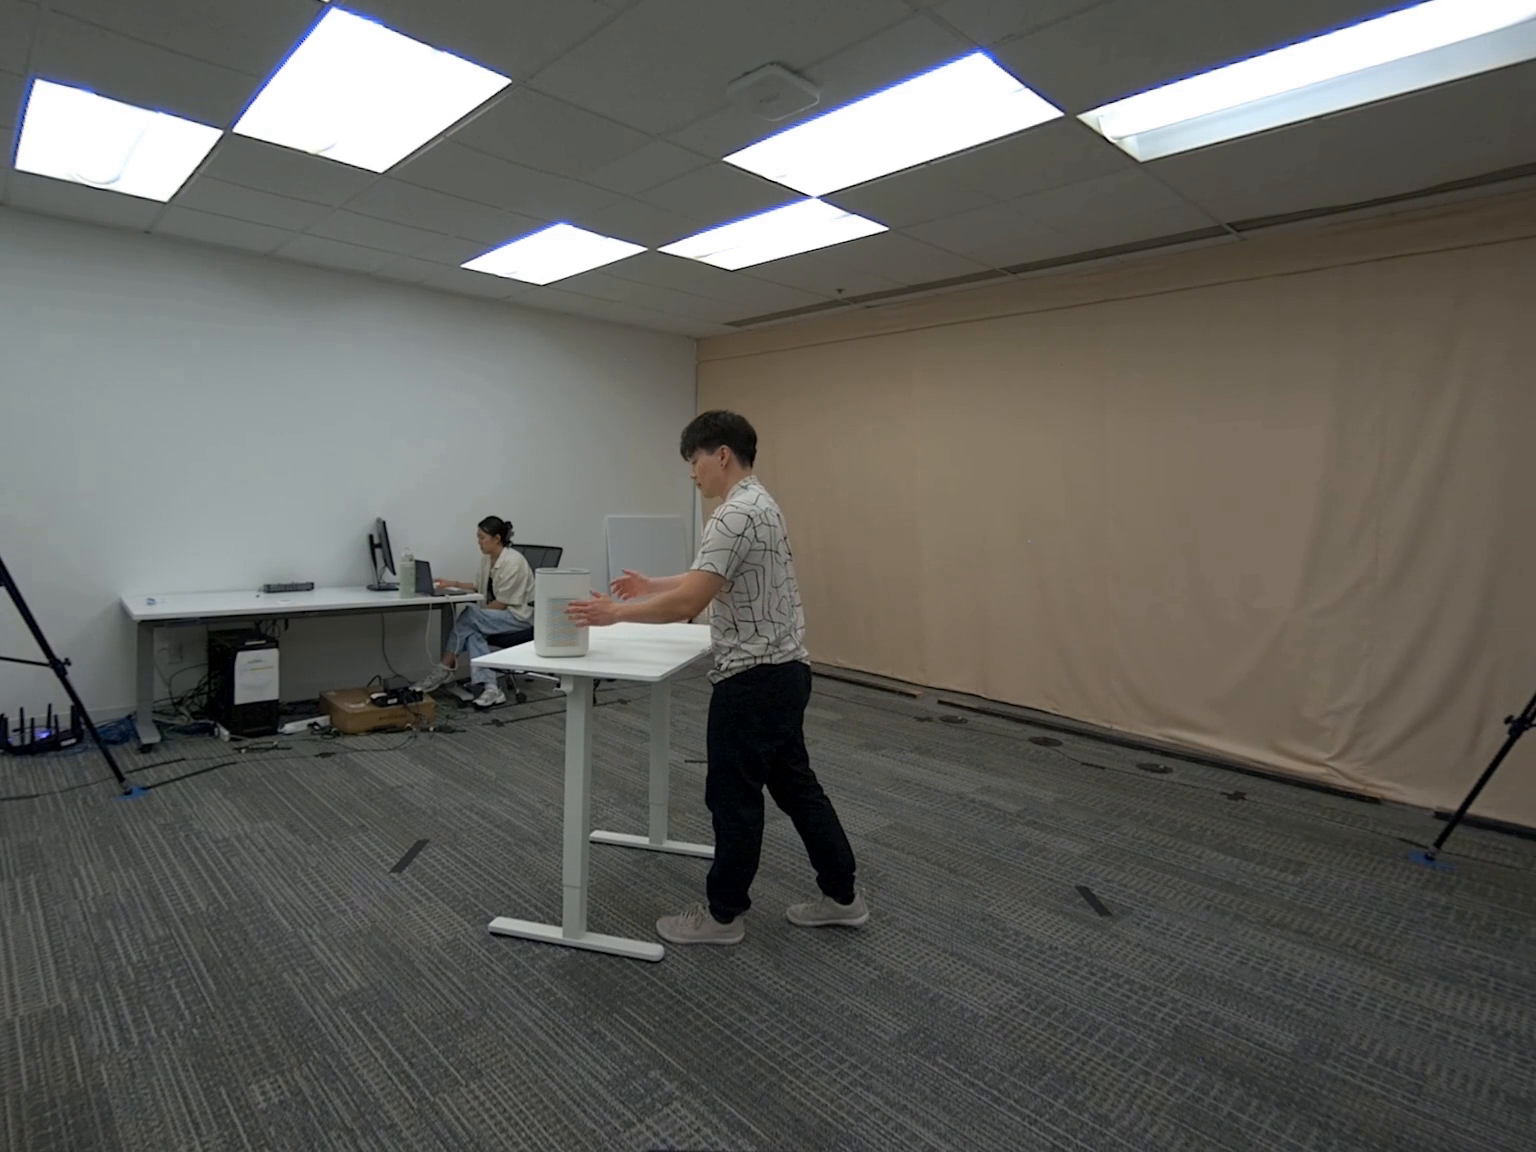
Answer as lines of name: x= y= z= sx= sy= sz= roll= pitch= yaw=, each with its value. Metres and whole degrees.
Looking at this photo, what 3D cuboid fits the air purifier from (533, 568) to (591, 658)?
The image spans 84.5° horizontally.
air purifier: x=-0.652 y=0.117 z=2.668 sx=0.170 sy=0.265 sz=0.173 roll=0 pitch=2 yaw=-15
